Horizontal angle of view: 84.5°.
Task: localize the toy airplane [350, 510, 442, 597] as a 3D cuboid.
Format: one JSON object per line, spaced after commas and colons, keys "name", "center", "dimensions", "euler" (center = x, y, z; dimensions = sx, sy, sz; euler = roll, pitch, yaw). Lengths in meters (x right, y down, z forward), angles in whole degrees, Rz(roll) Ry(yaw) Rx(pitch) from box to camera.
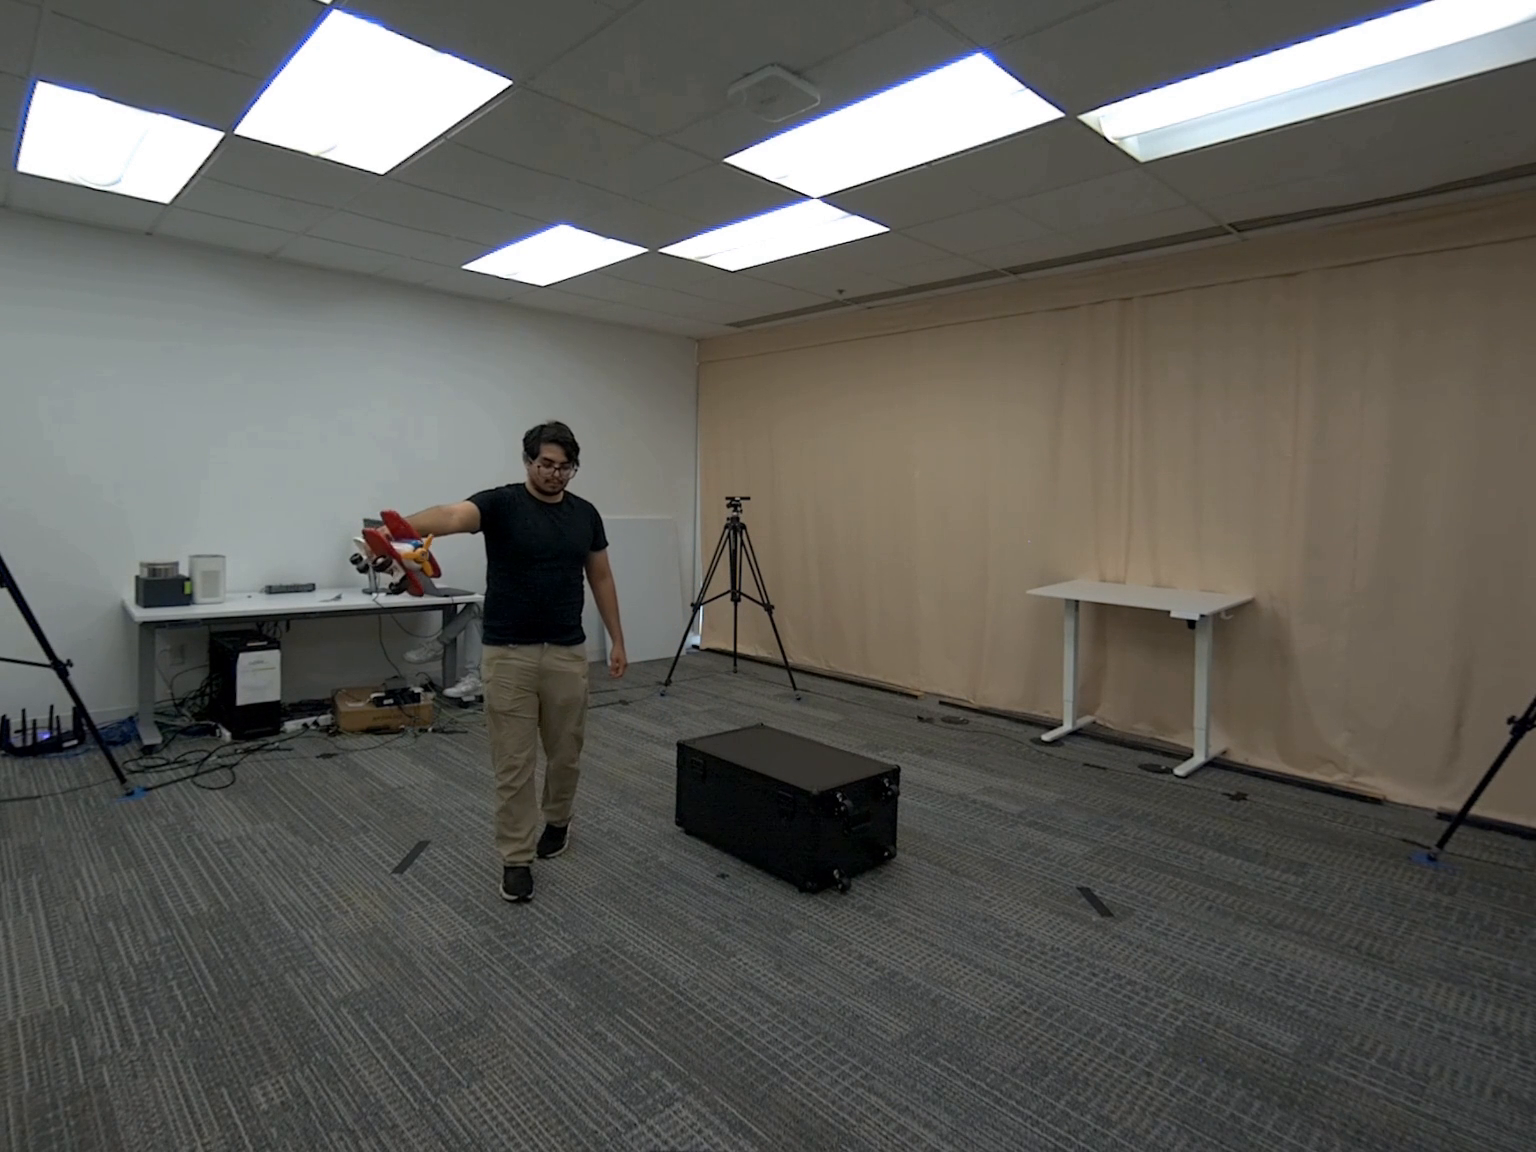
{"name": "toy airplane", "center": [-1.087, -0.073, 2.361], "dimensions": [0.264, 0.247, 0.156], "euler": [36, 59, 16]}
